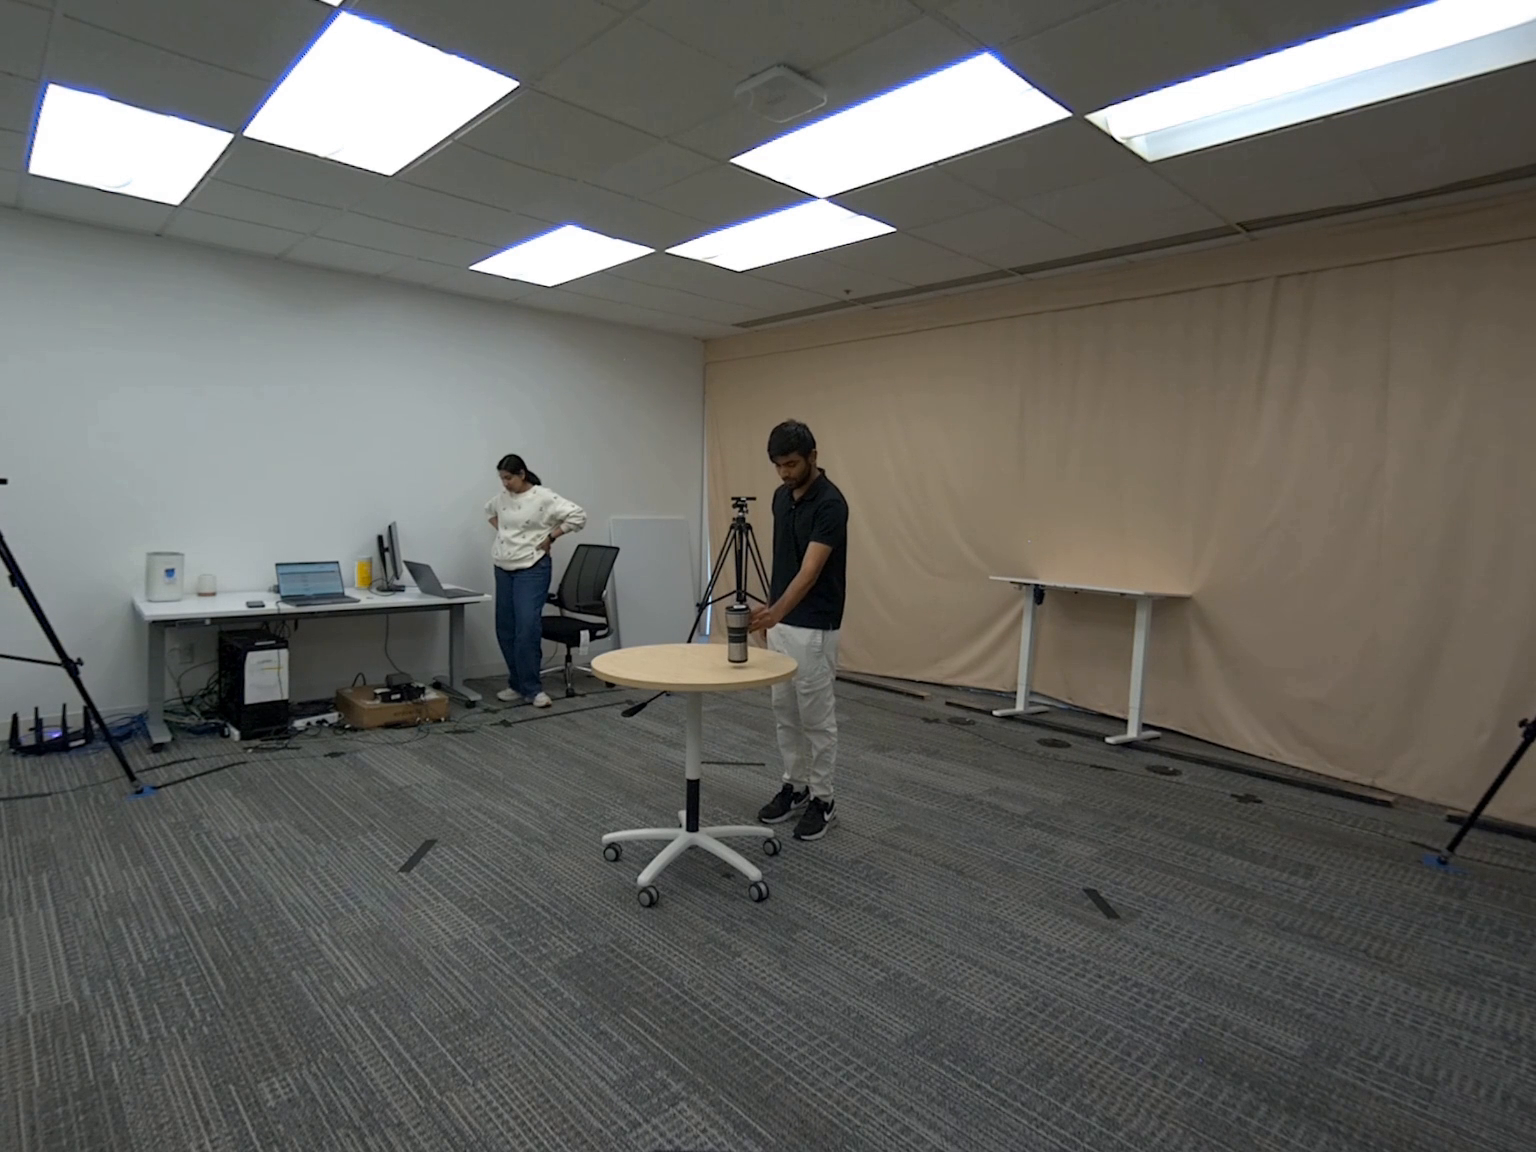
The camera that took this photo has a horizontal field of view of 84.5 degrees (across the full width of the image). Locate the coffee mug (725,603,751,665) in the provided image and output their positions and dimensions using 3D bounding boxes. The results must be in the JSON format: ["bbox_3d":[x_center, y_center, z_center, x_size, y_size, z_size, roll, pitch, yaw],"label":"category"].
[{"bbox_3d":[-0.096,0.209,3.026,0.120,0.202,0.090,-10,8,-39],"label":"coffee mug"}]
